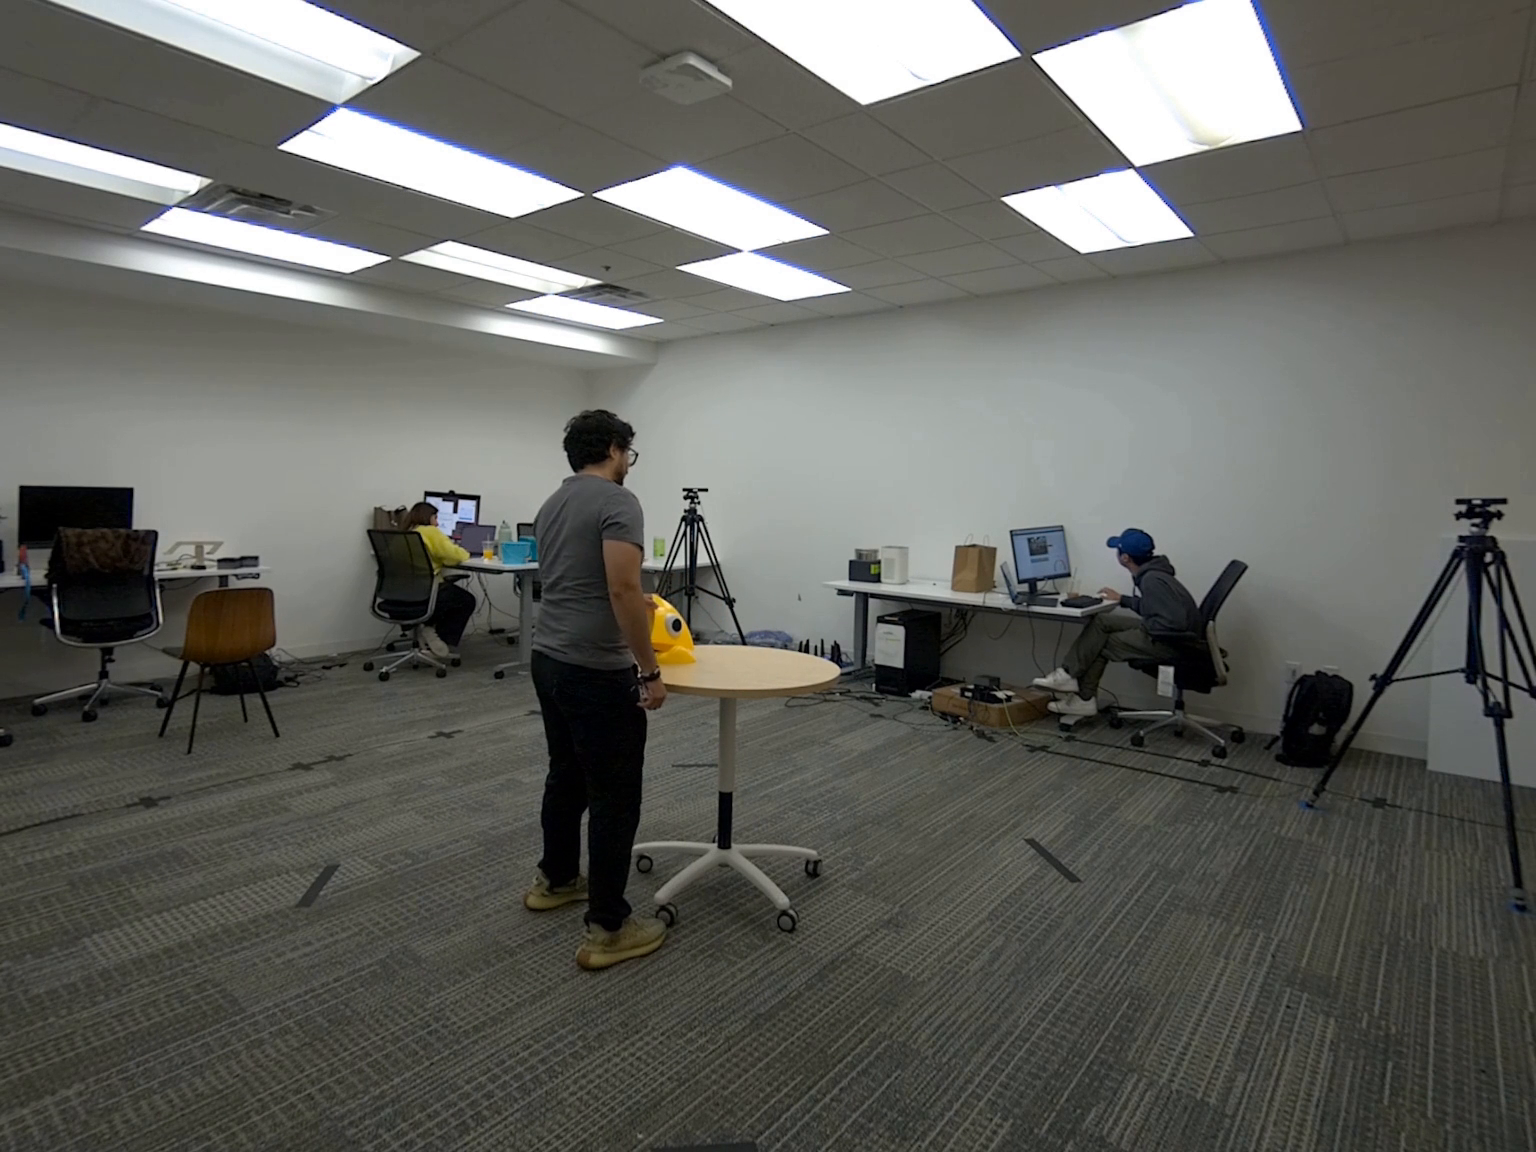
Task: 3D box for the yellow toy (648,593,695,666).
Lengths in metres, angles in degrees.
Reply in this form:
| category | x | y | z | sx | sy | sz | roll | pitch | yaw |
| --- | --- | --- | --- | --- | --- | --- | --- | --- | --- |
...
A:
| category | x | y | z | sx | sy | sz | roll | pitch | yaw |
| --- | --- | --- | --- | --- | --- | --- | --- | --- | --- |
| yellow toy | -0.356 | 0.178 | 3.013 | 0.189 | 0.230 | 0.209 | 1 | 3 | -20 |
